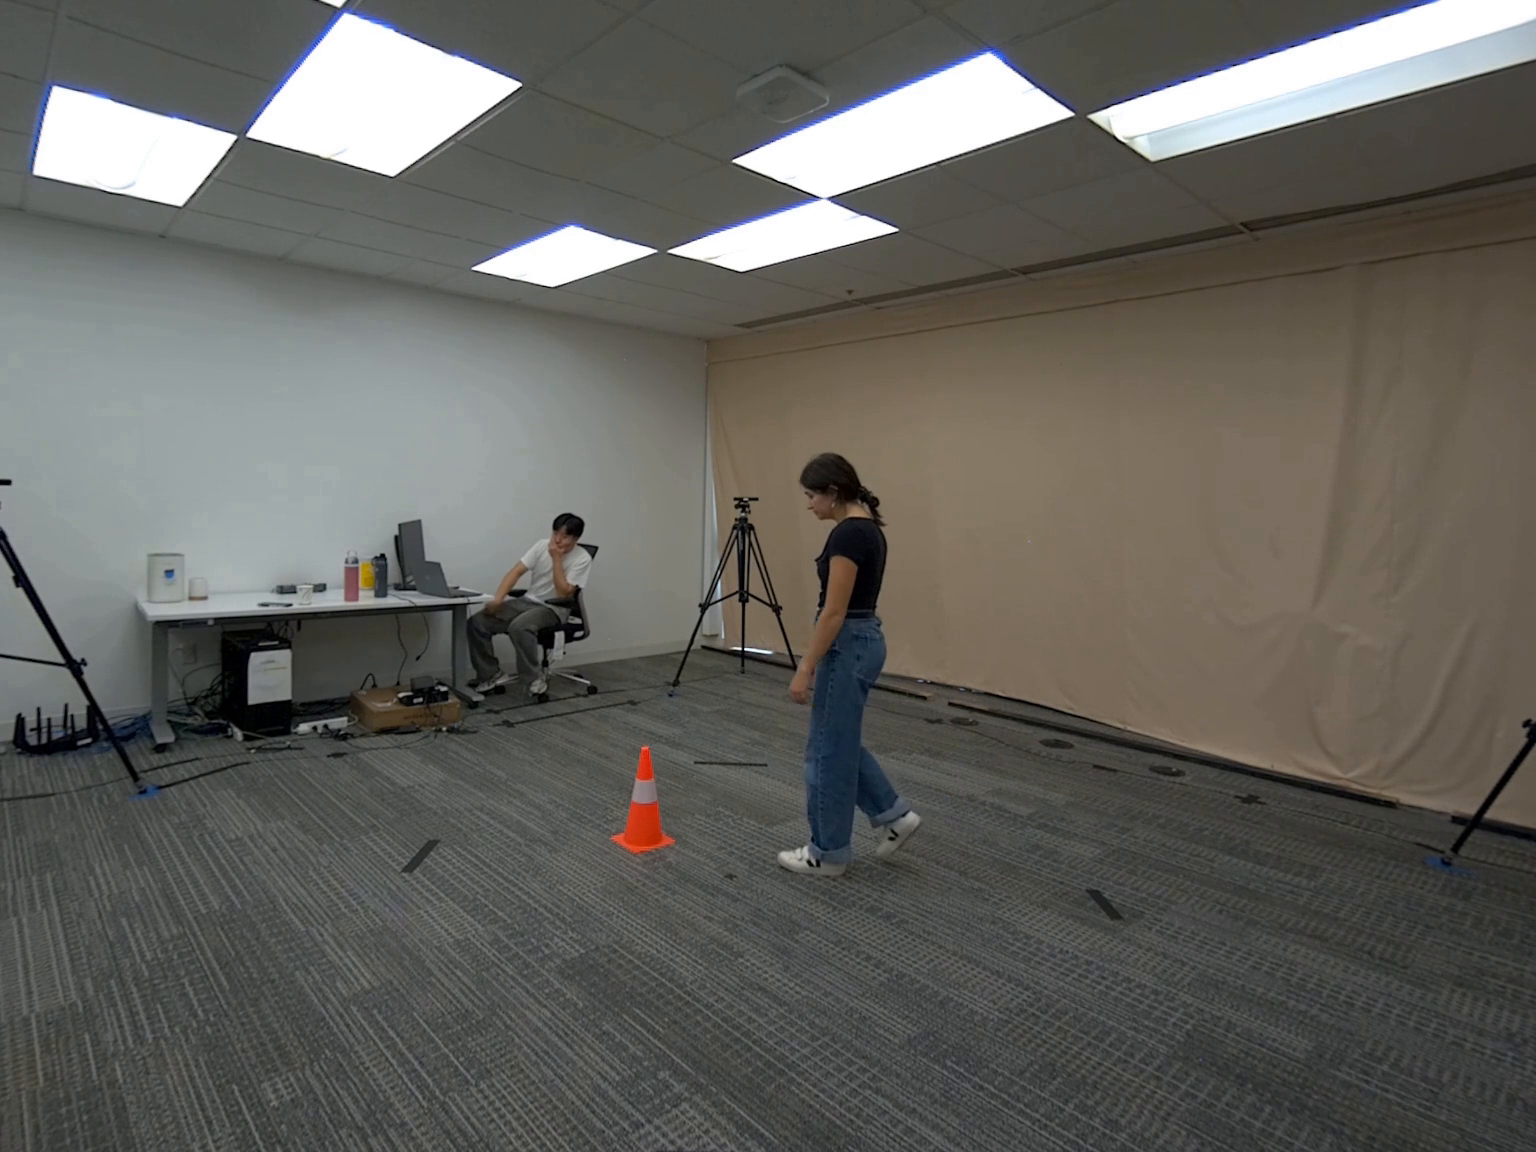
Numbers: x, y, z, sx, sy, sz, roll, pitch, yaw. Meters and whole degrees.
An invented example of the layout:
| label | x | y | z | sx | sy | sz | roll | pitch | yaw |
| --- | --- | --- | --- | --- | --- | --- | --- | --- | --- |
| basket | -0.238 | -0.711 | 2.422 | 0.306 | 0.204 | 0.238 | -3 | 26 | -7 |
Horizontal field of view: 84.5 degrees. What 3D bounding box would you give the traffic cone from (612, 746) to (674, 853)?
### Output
| label | x | y | z | sx | sy | sz | roll | pitch | yaw |
| --- | --- | --- | --- | --- | --- | --- | --- | --- | --- |
| traffic cone | -0.501 | 0.881 | 3.406 | 0.199 | 0.382 | 0.210 | -1 | 5 | -41 |
